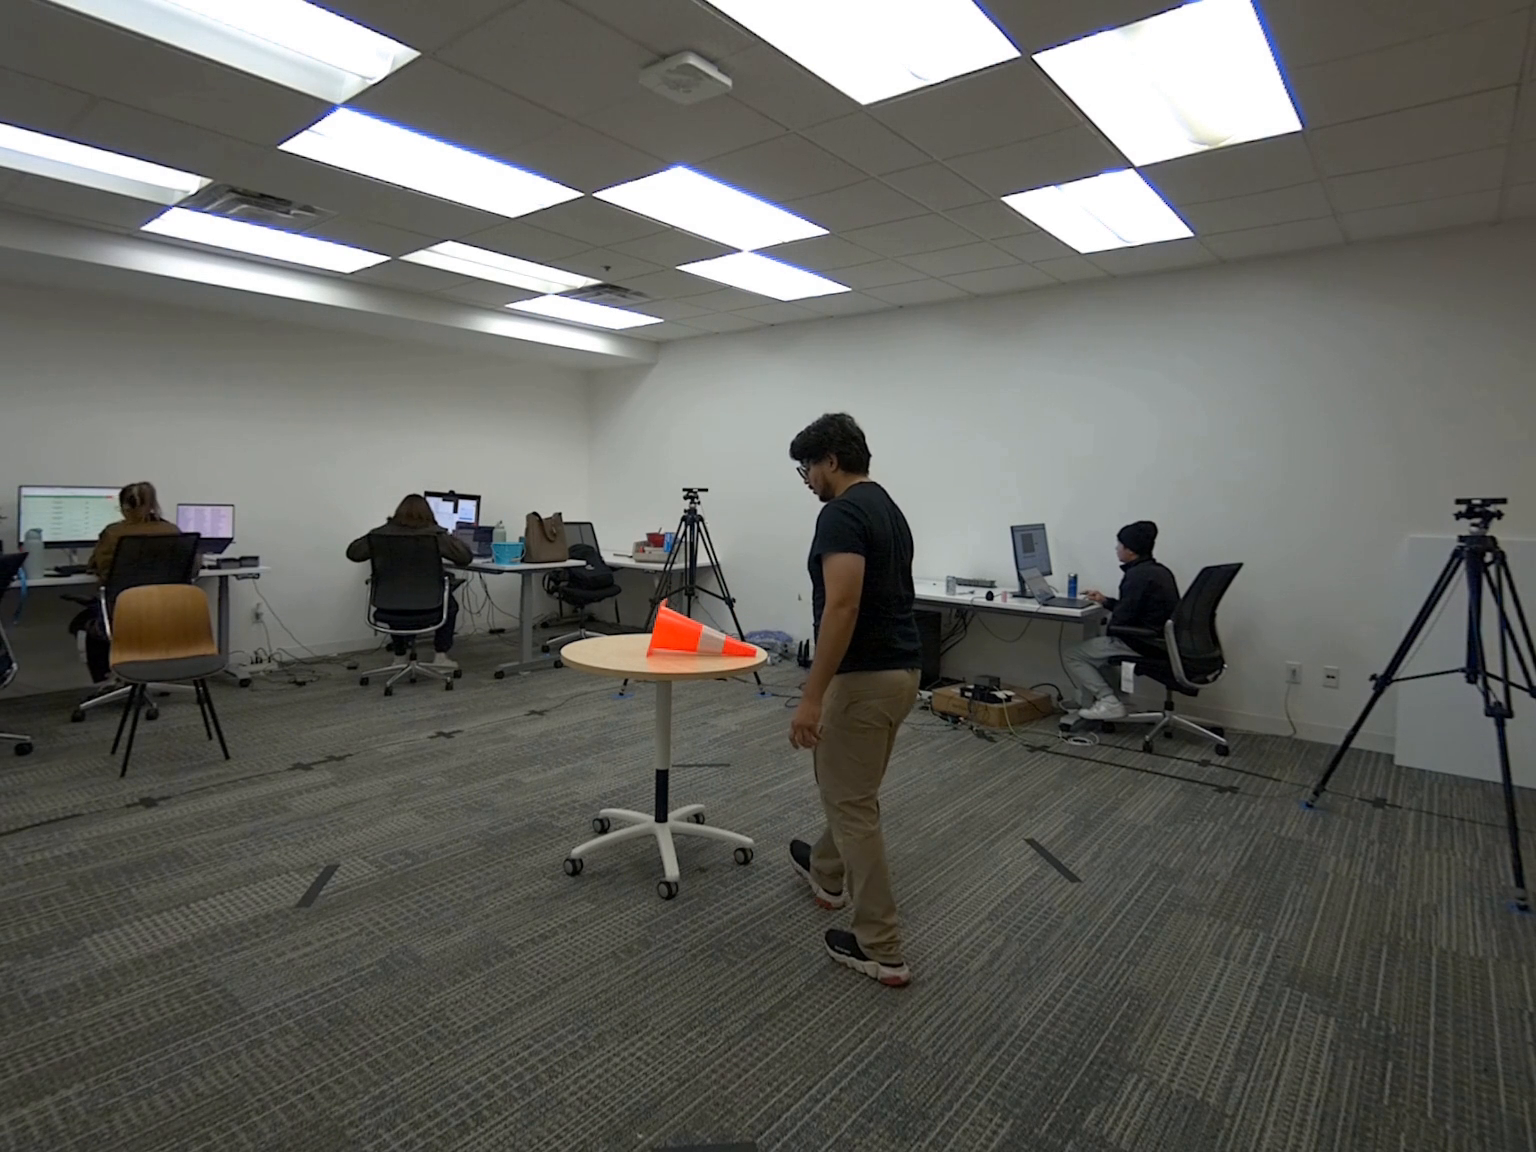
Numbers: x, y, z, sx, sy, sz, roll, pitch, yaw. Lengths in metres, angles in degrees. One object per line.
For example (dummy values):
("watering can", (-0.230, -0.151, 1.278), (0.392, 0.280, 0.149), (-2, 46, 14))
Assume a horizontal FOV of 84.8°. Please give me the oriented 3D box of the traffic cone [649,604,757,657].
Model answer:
("traffic cone", (-0.233, 0.243, 3.125), (0.382, 0.204, 0.205), (16, -5, -4))
